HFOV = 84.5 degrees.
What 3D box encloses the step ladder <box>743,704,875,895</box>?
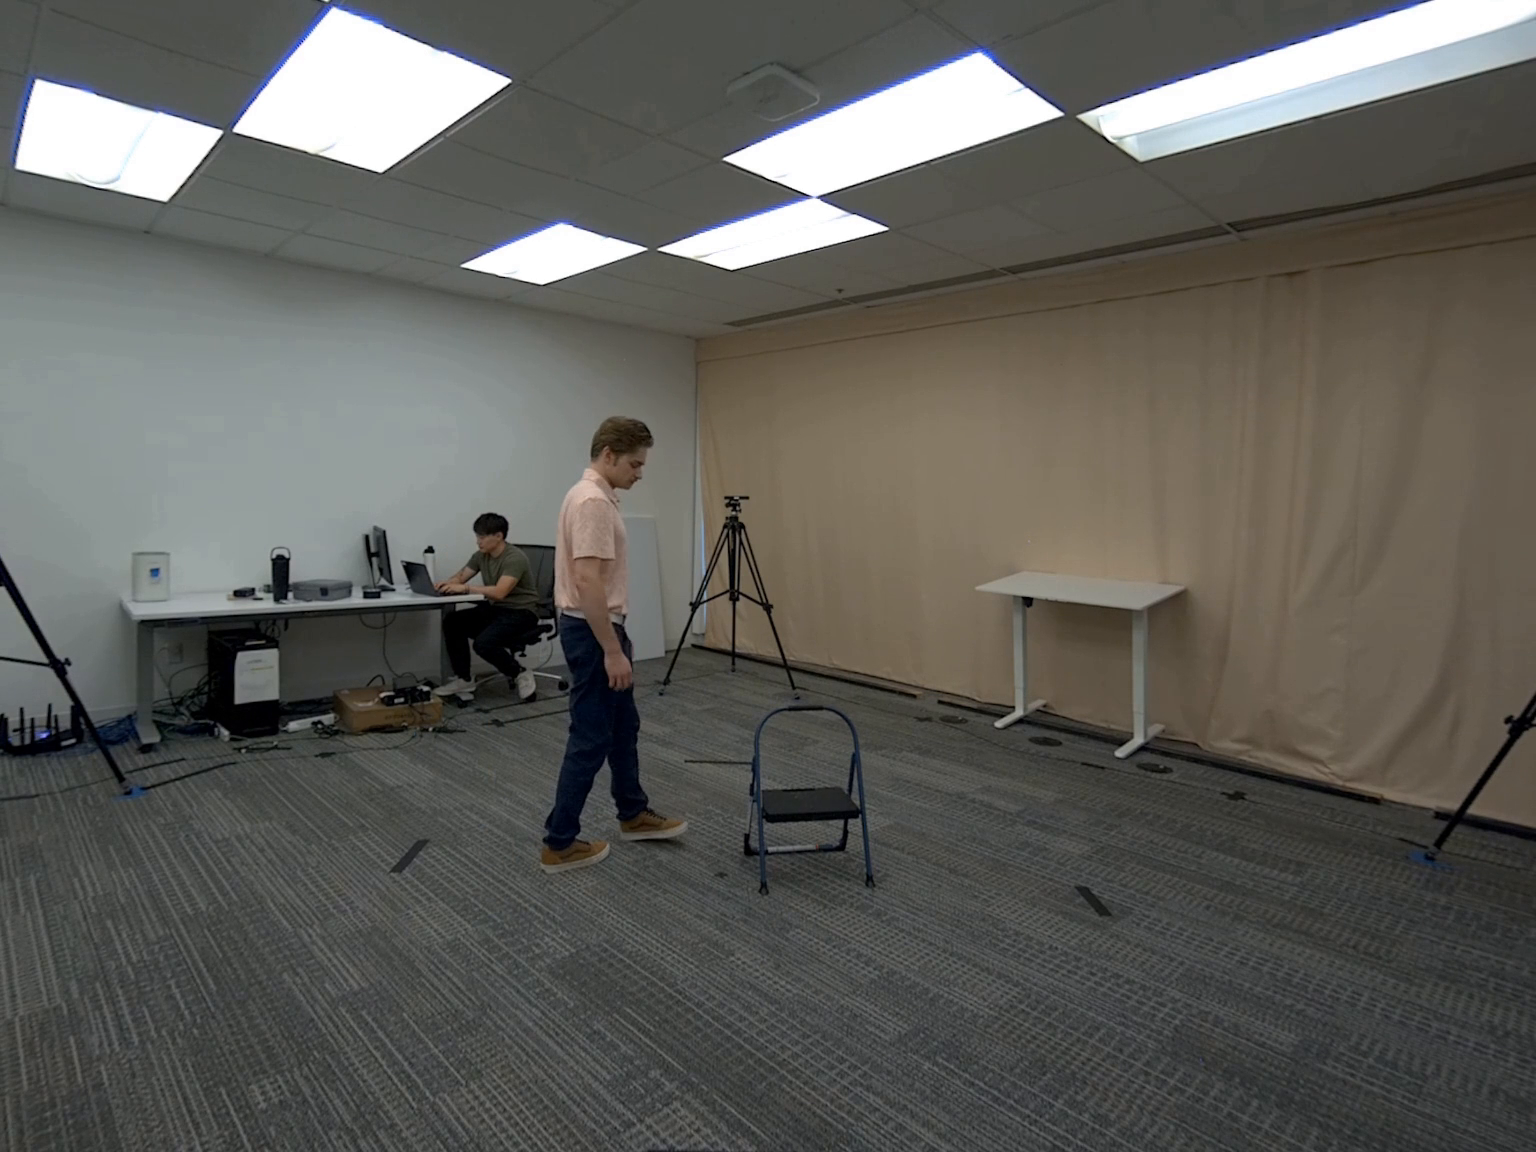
[{"bbox_3d":[0.149,0.810,3.144,0.426,0.605,0.353,2,3,-12],"label":"step ladder"}]
